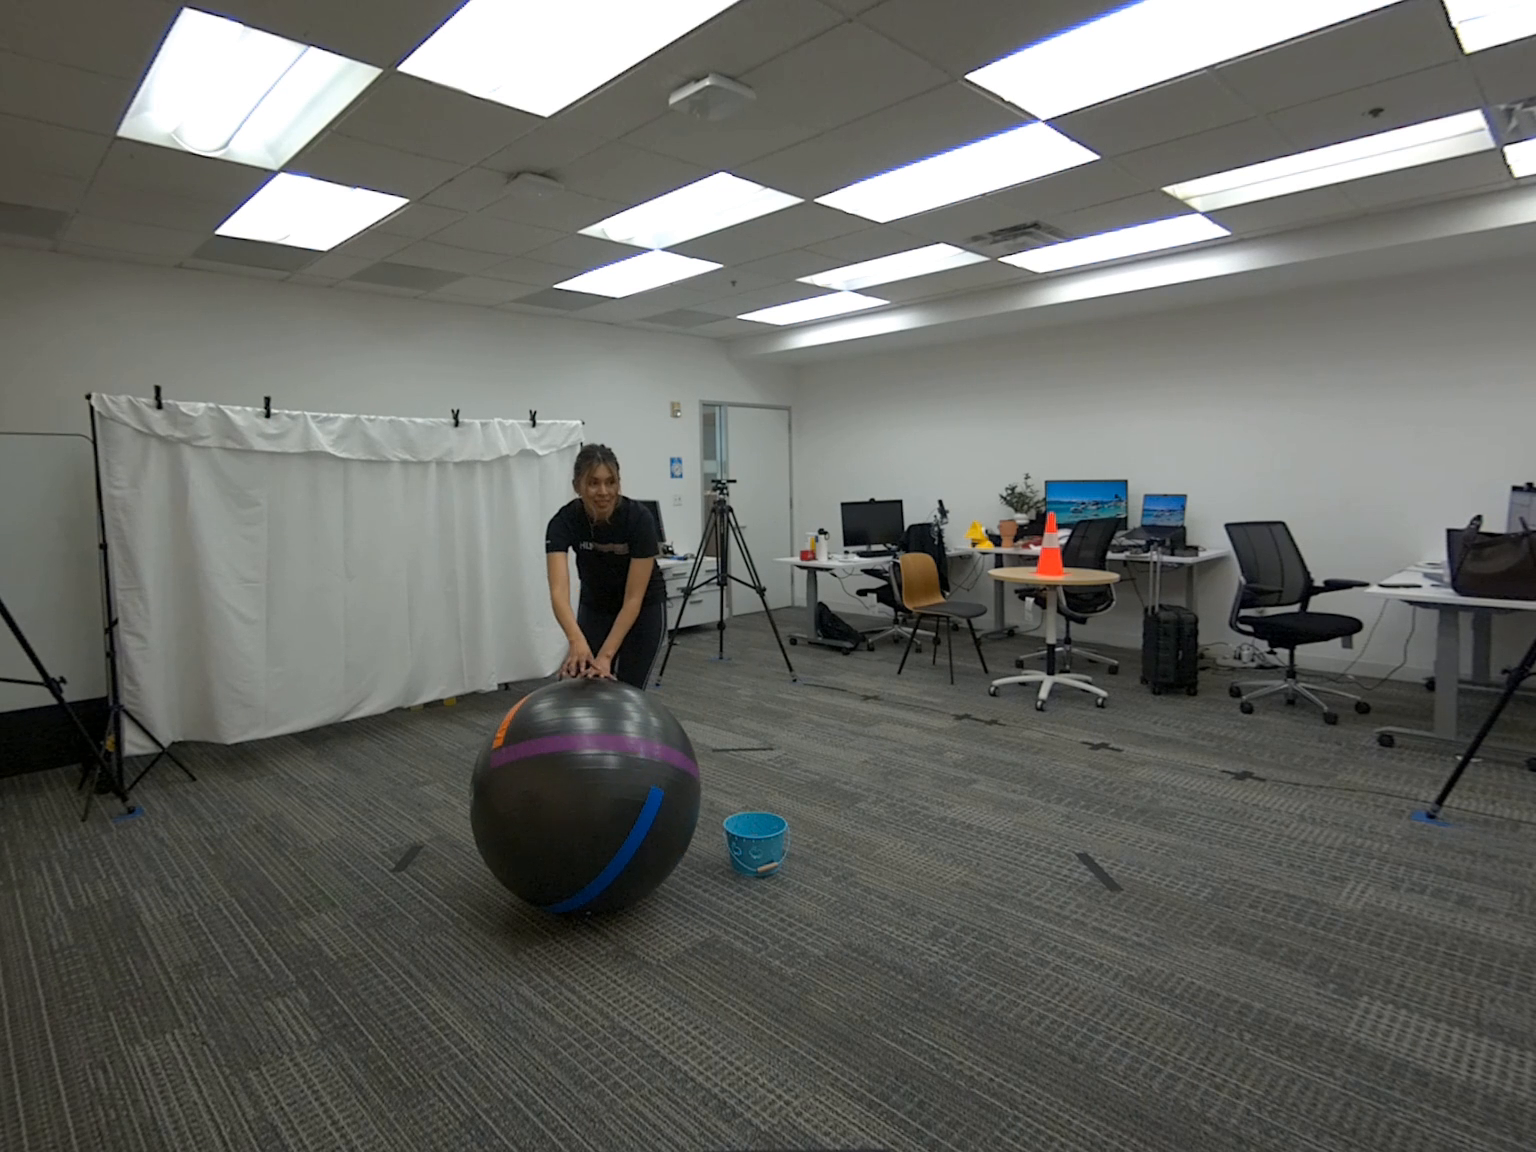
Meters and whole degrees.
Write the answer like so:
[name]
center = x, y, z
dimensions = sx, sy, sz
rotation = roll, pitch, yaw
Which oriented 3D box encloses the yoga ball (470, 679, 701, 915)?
[yoga ball]
center = -0.606, 0.724, 2.837
dimensions = 0.757, 0.755, 0.762
rotation = -1, 5, -2
